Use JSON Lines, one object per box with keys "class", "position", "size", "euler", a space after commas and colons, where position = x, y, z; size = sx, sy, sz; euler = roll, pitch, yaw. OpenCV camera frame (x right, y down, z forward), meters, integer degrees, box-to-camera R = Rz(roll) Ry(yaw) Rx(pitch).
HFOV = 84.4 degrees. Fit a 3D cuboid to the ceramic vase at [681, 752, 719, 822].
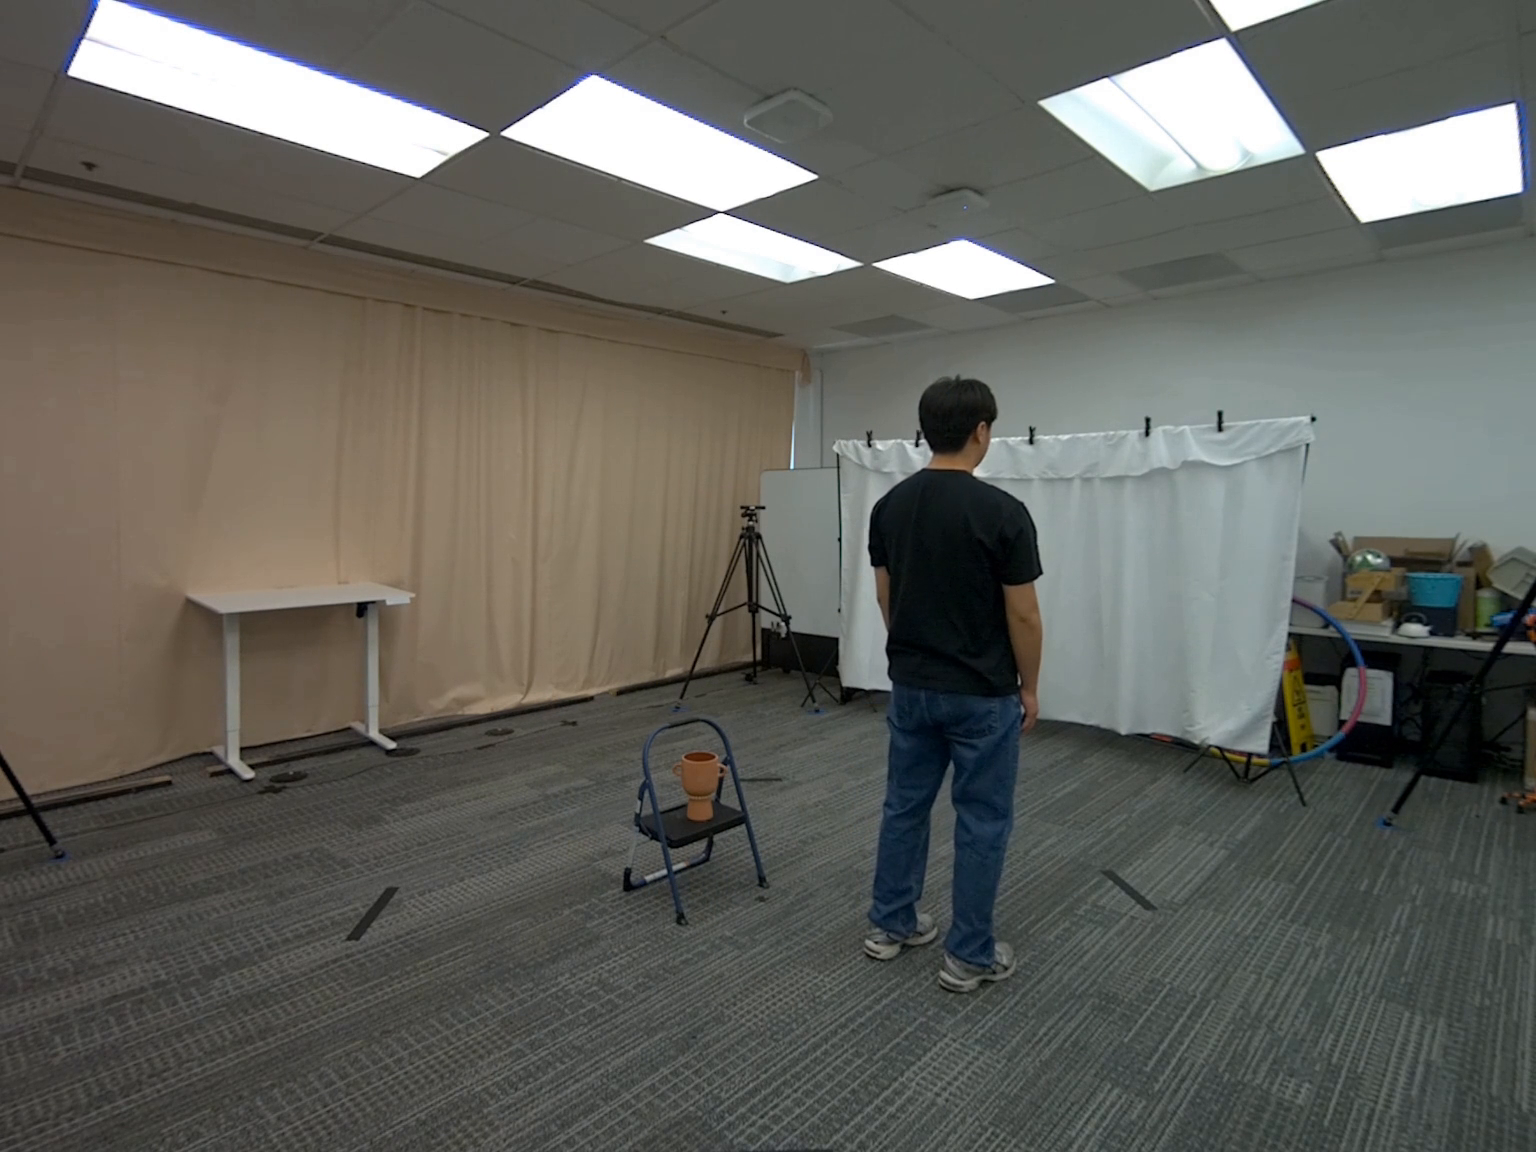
{"class": "ceramic vase", "position": [-0.244, 0.767, 3.074], "size": [0.164, 0.219, 0.131], "euler": [3, 5, 36]}
